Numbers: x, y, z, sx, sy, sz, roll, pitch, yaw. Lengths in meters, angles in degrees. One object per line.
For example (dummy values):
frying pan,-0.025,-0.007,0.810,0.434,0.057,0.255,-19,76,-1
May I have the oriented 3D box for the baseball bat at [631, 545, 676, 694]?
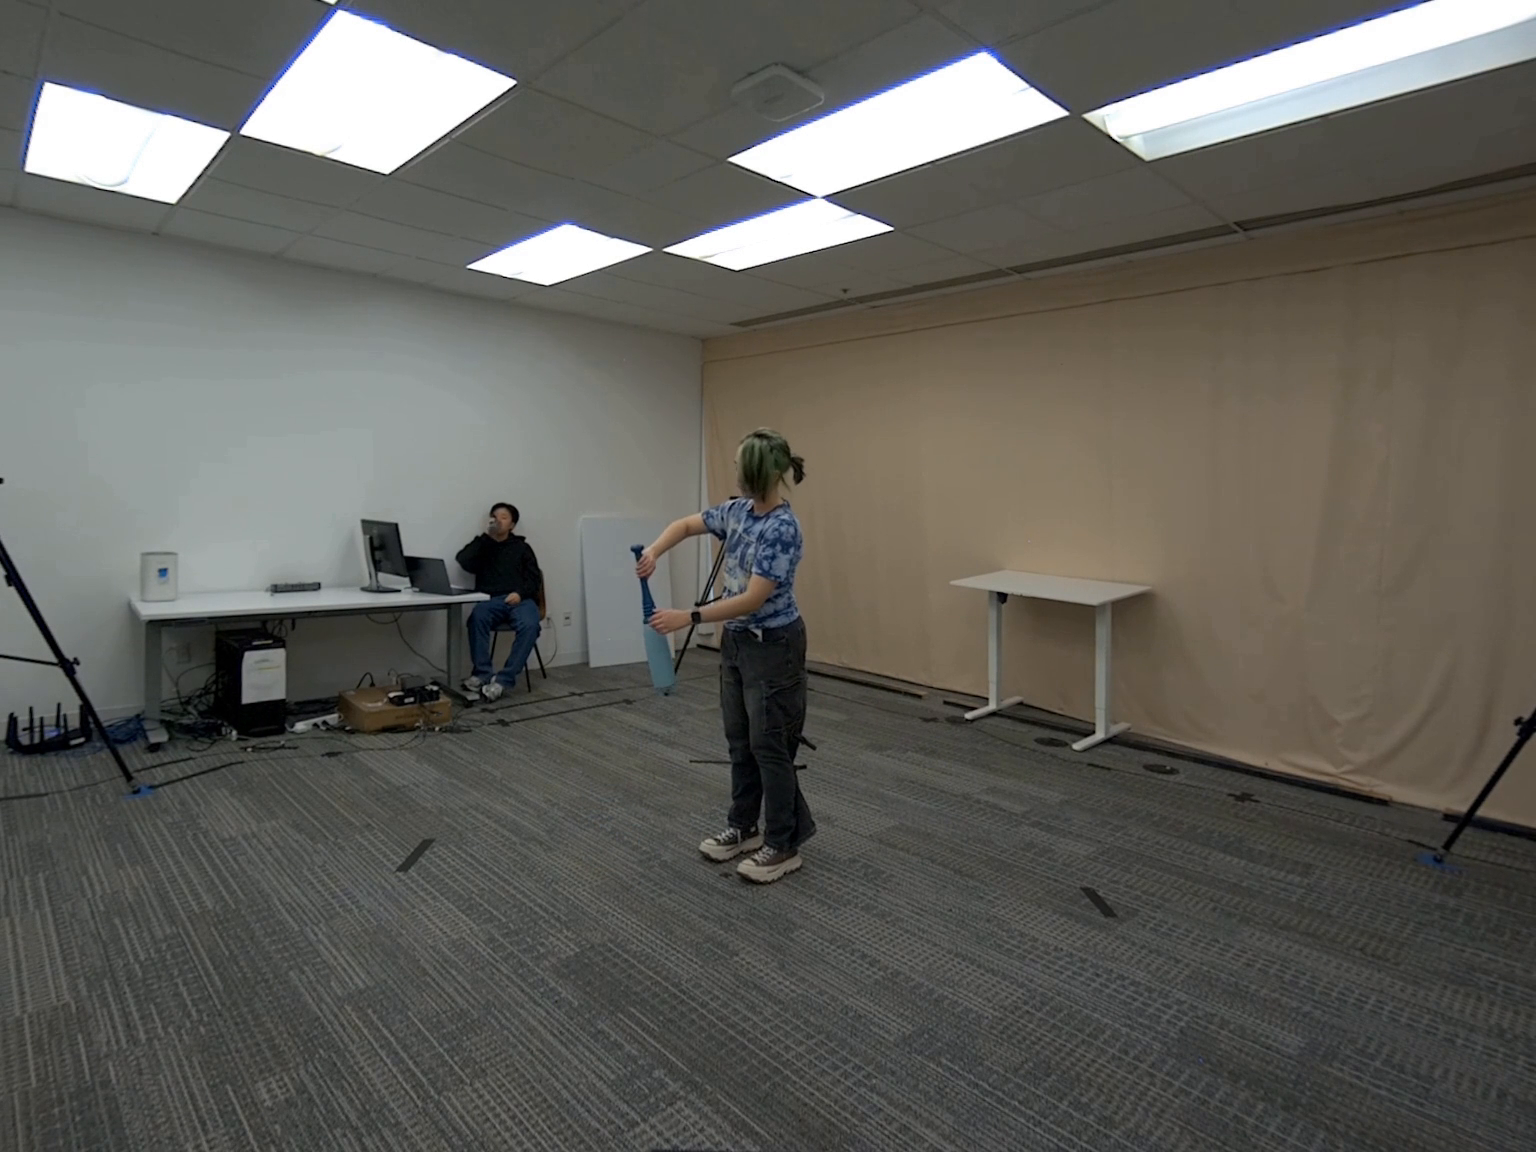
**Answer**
baseball bat,-0.435,0.151,3.118,0.089,0.541,0.089,-11,4,0
